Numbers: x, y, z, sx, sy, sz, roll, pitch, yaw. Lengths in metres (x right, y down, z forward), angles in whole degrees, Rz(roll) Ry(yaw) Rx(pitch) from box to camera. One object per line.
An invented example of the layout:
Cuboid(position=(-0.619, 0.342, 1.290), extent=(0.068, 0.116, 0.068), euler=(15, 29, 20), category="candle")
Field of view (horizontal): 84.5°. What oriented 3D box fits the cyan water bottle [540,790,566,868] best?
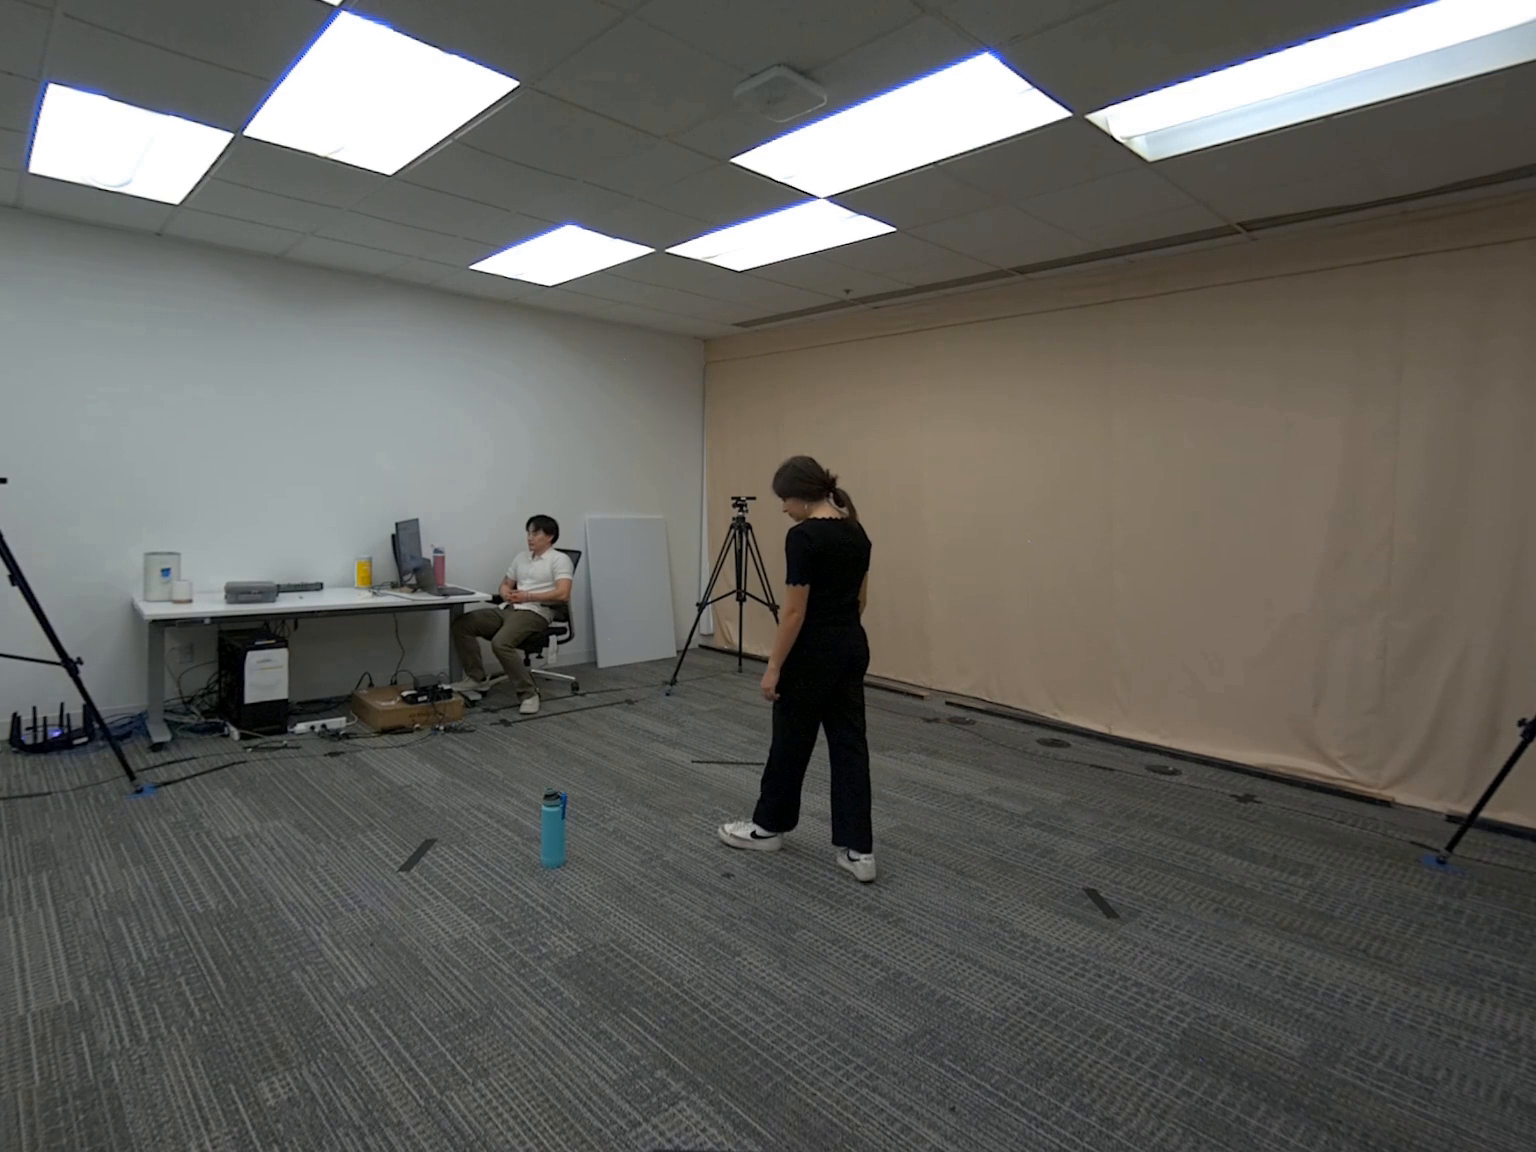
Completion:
Cuboid(position=(-0.817, 0.944, 3.171), extent=(0.092, 0.283, 0.092), euler=(2, 3, -1), category="cyan water bottle")
